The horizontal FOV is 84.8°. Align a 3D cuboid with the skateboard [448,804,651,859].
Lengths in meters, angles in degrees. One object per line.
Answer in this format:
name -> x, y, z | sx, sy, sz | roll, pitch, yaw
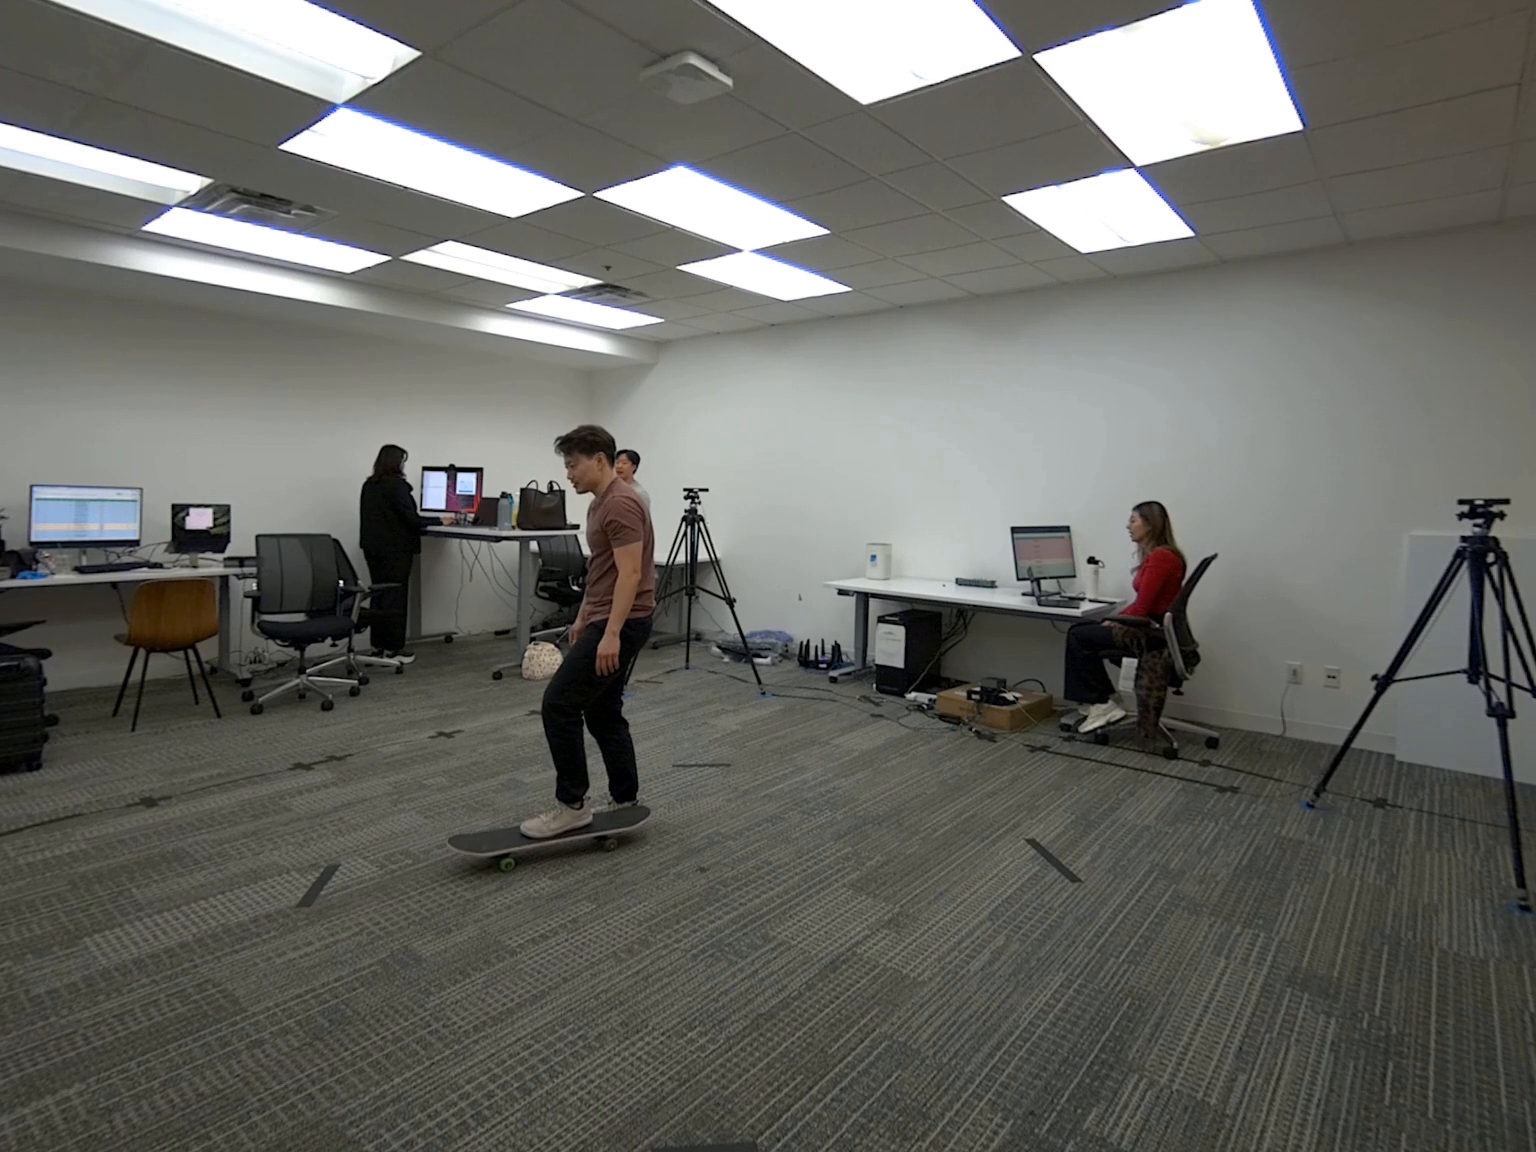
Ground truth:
skateboard -> -0.829, 0.993, 3.225 | 0.765, 0.110, 0.199 | -3, 7, -29
